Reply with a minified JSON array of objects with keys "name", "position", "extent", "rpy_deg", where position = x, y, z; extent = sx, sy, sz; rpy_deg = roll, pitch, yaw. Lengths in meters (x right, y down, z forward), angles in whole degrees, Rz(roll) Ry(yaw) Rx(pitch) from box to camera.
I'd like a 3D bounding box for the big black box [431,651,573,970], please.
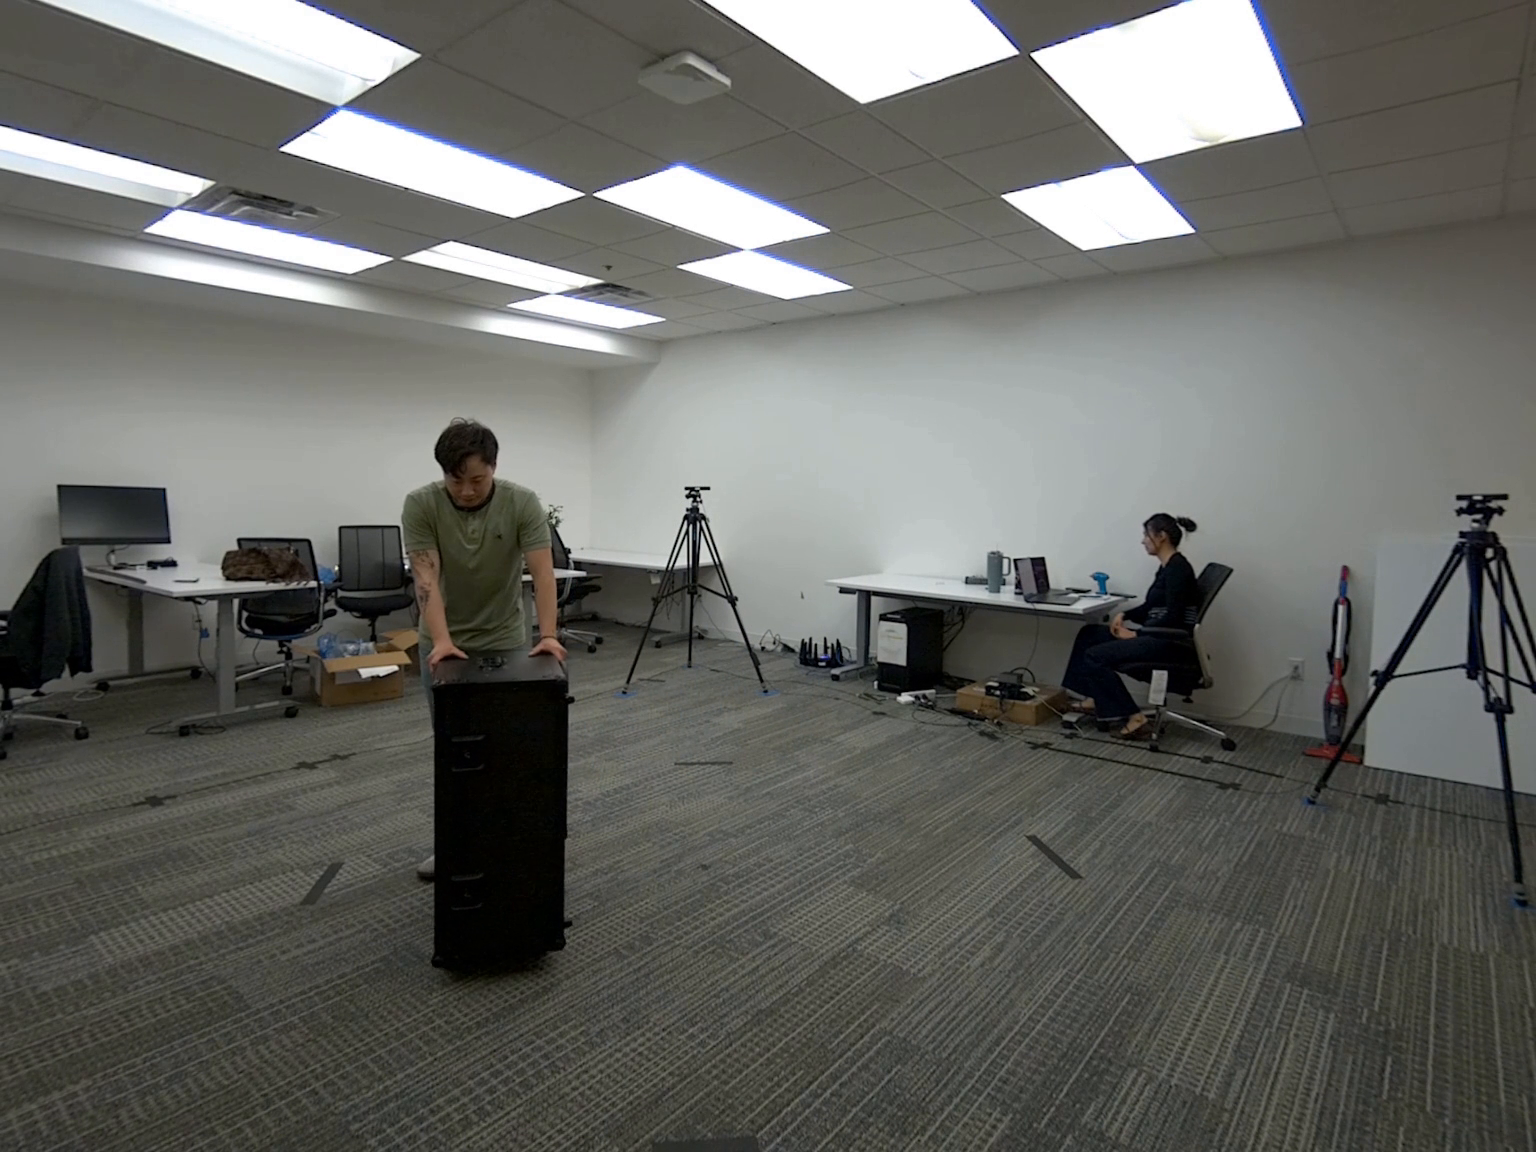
[{"name":"big black box","position":[-0.822,0.691,2.585],"extent":[0.389,0.859,0.532],"rpy_deg":[0,4,-18]}]
